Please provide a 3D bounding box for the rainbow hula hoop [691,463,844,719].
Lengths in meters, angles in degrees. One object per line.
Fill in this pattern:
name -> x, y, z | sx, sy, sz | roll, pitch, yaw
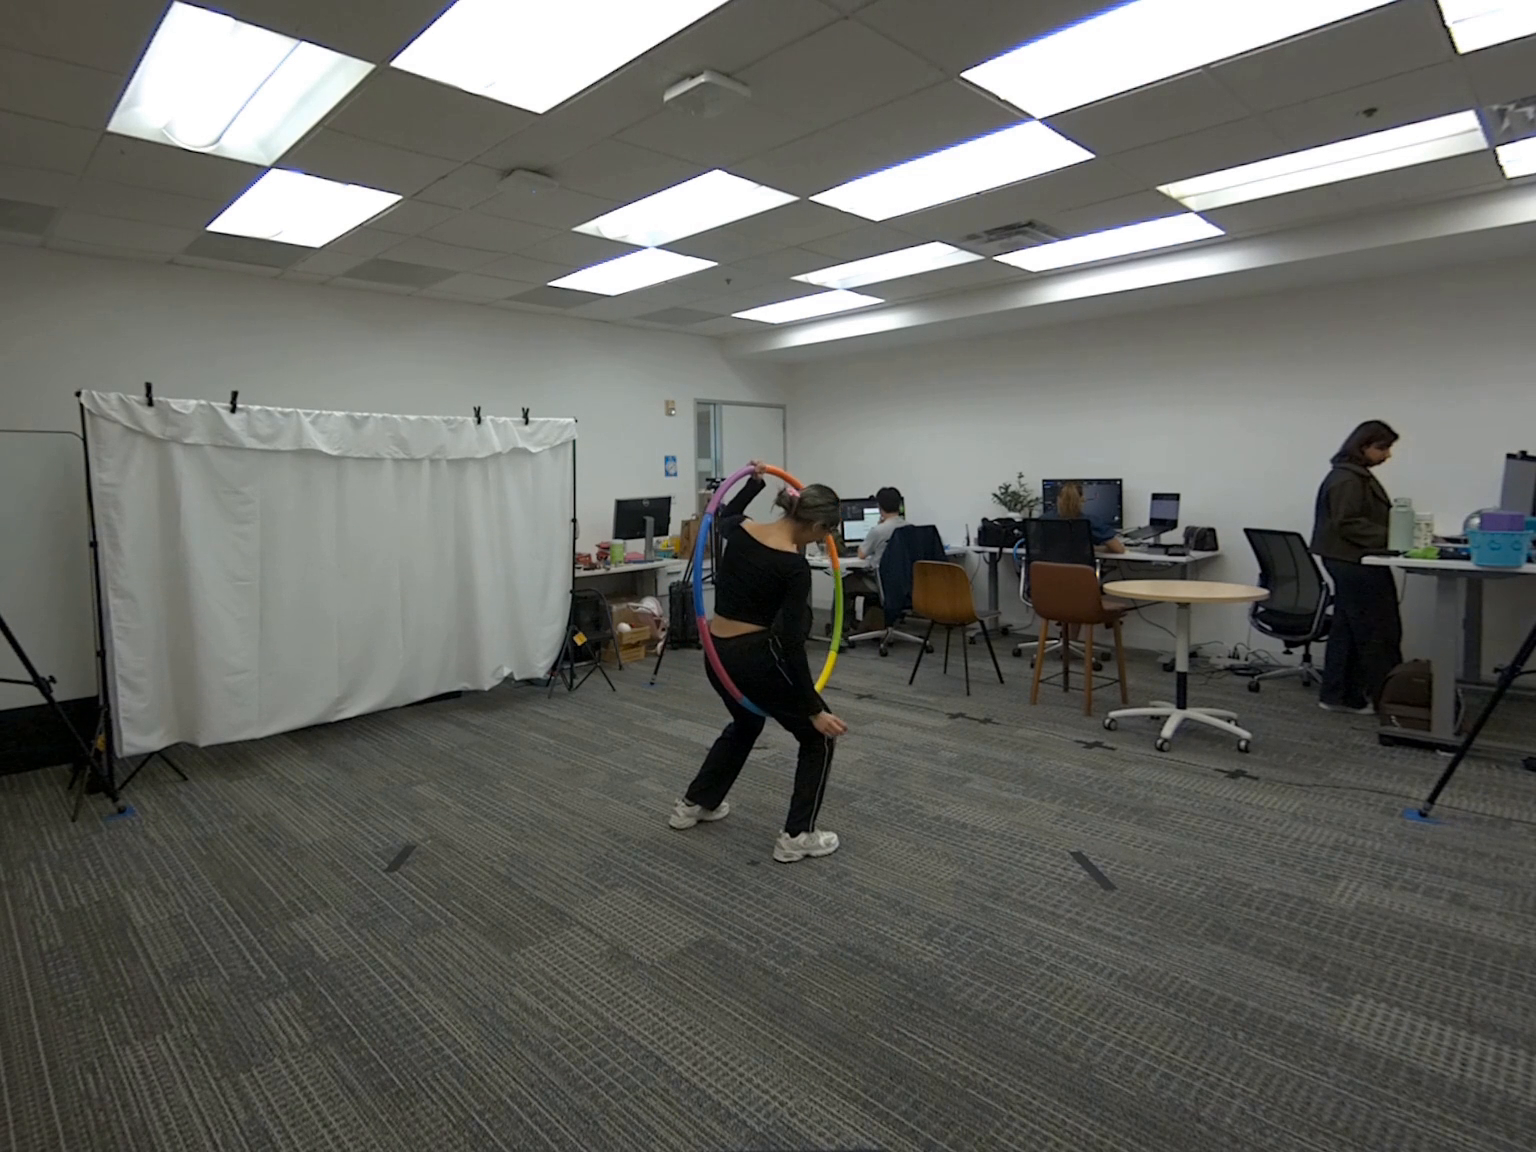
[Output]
rainbow hula hoop -> 0.027, 0.050, 3.390 | 0.036, 0.981, 0.954 | -10, -2, 37
